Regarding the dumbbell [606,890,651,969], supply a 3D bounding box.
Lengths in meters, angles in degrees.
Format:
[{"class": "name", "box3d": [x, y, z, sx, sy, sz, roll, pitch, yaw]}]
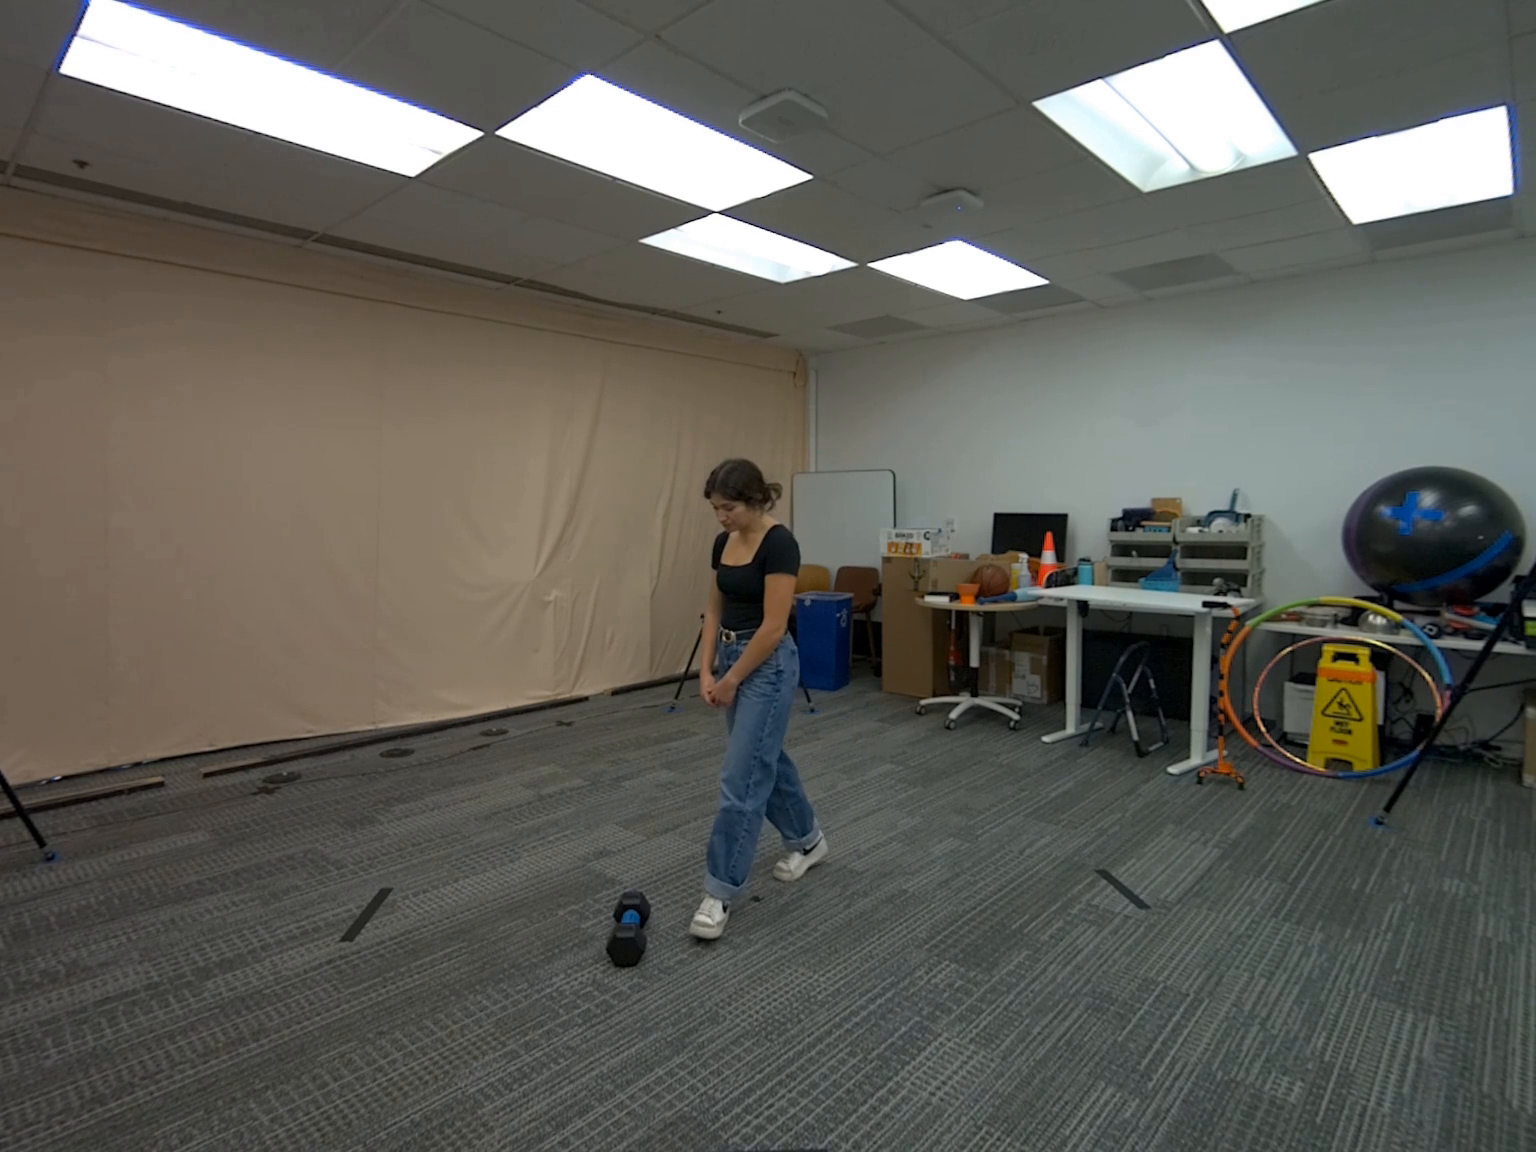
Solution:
[{"class": "dumbbell", "box3d": [-0.441, 1.119, 2.678, 0.108, 0.123, 0.295, 30, 1, -6]}]
